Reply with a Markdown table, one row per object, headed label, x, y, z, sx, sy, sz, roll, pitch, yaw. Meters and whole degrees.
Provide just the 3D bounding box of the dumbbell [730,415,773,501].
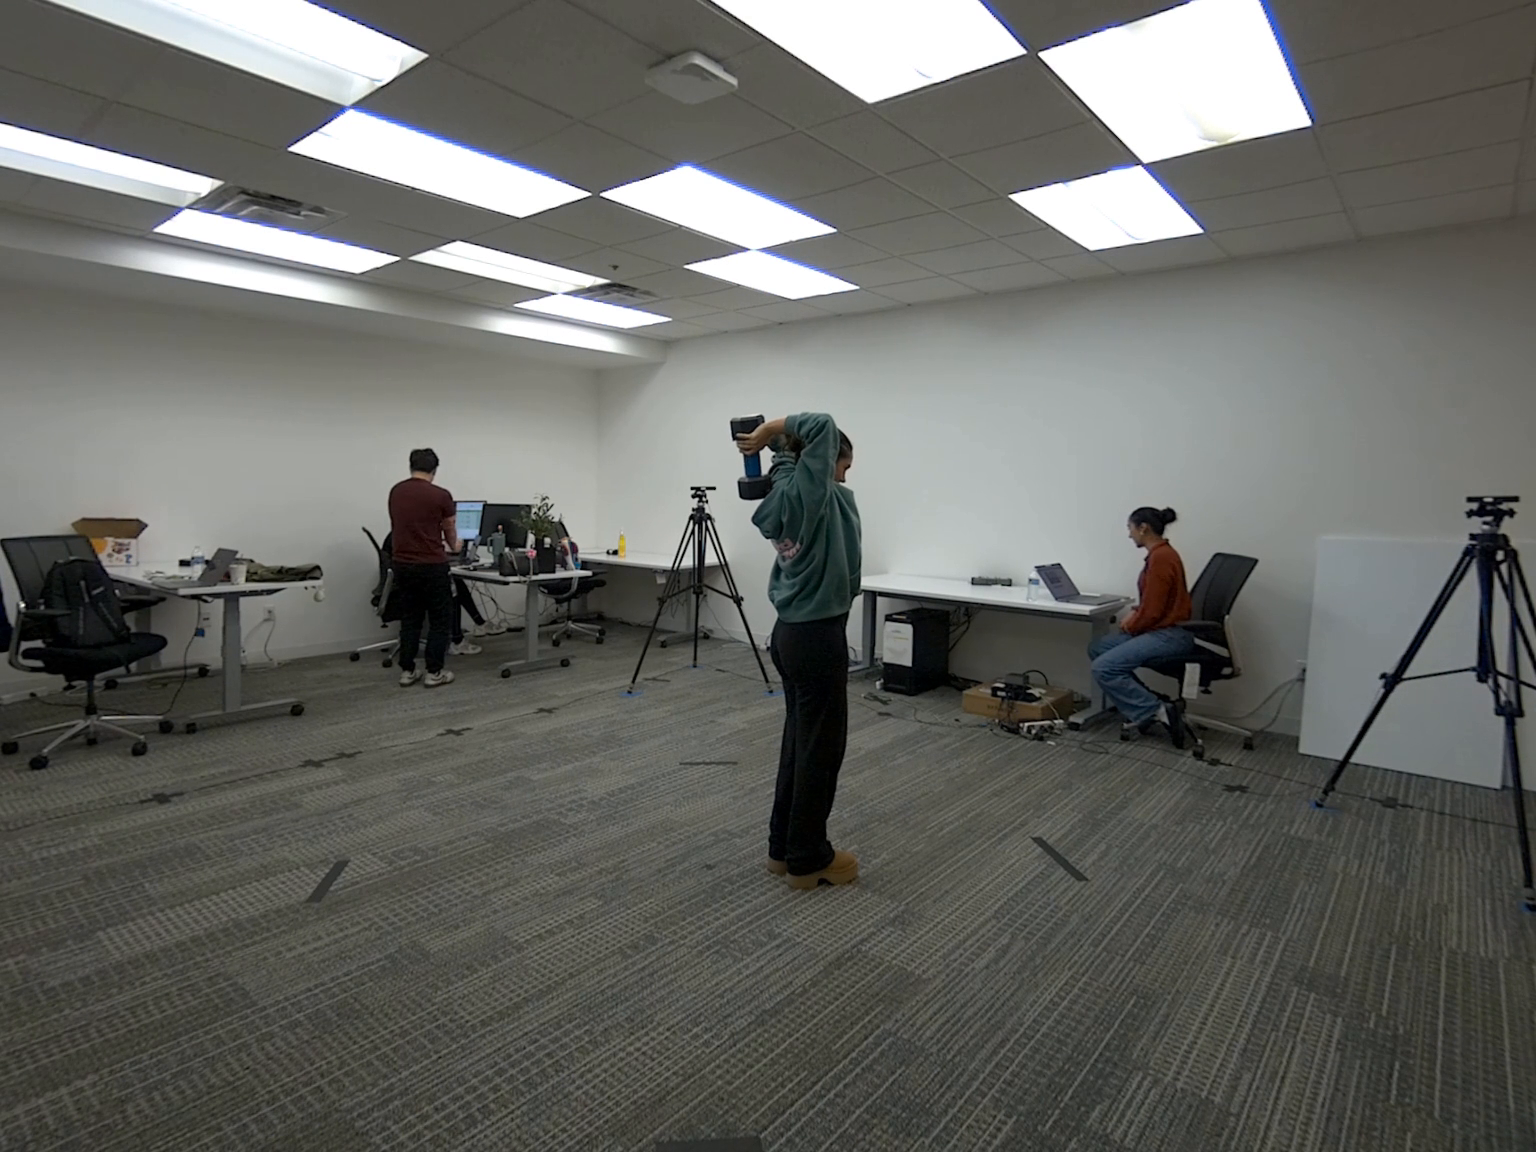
| label | x | y | z | sx | sy | sz | roll | pitch | yaw |
| --- | --- | --- | --- | --- | --- | --- | --- | --- | --- |
| dumbbell | -0.063 | -0.427 | 2.996 | 0.123 | 0.290 | 0.110 | -9 | 10 | 0 |
